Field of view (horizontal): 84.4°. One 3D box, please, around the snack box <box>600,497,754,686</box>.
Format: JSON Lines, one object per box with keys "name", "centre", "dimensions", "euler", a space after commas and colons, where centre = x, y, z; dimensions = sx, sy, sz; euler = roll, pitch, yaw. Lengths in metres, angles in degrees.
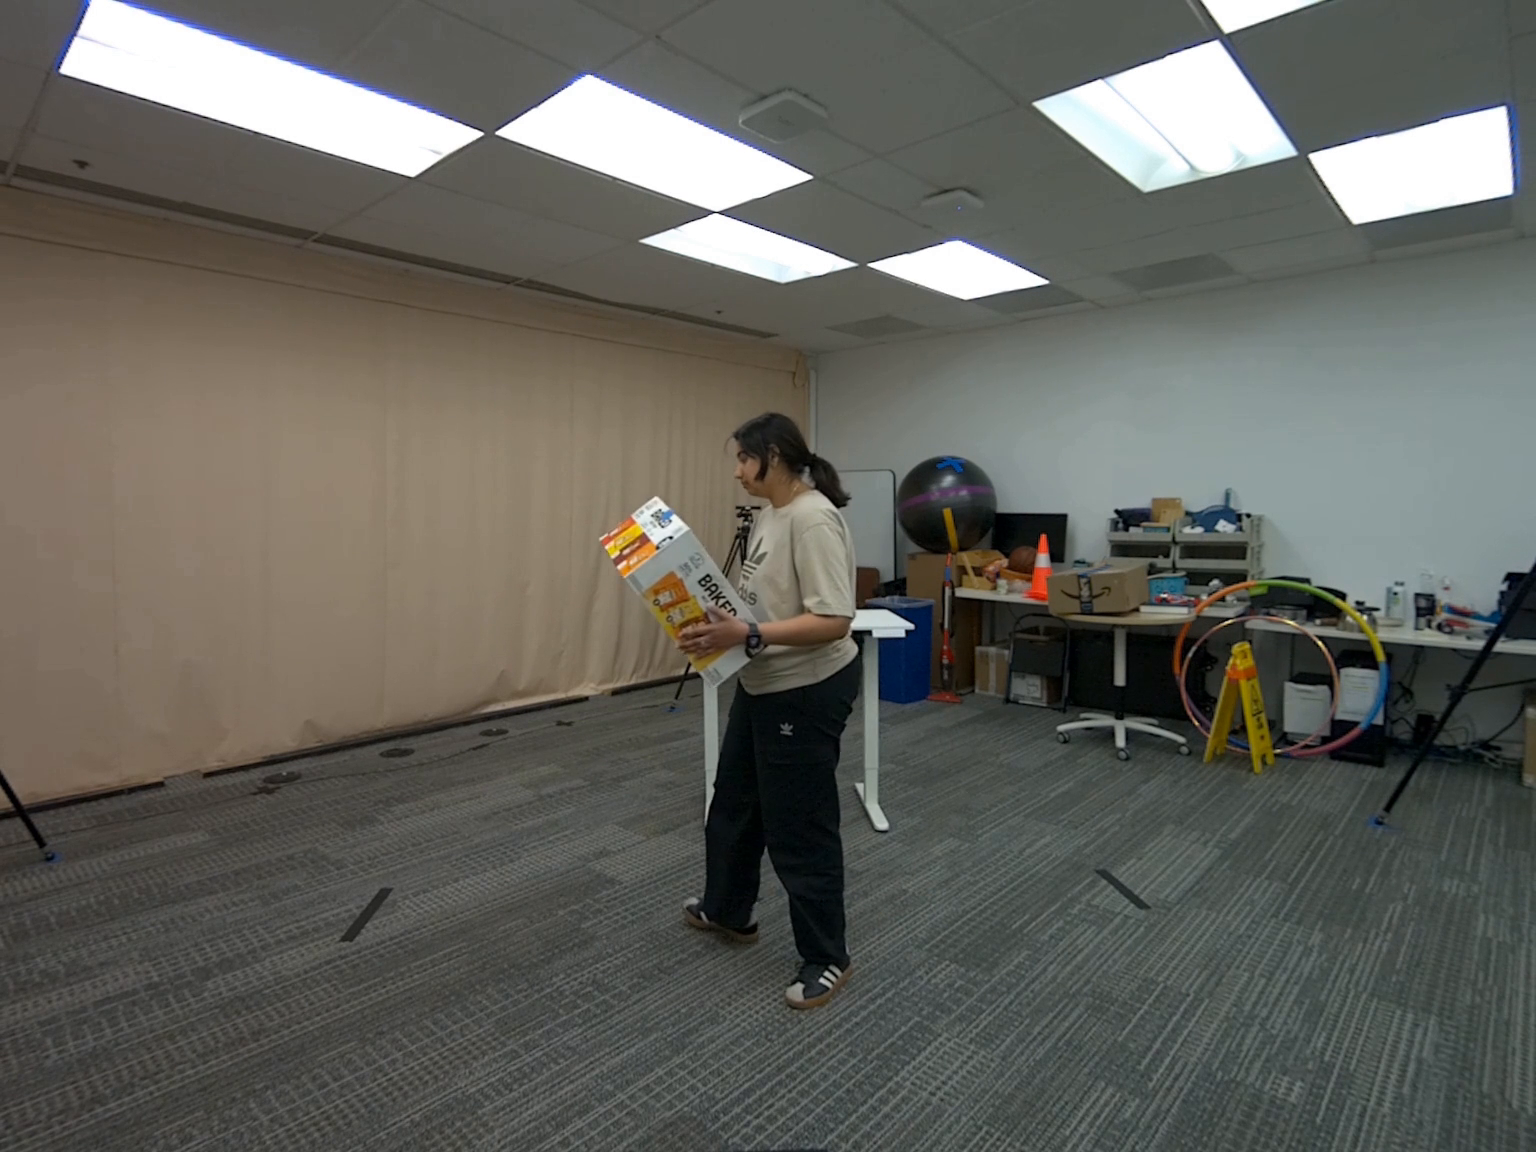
{"name": "snack box", "centre": [-0.227, 0.038, 2.264], "dimensions": [0.205, 0.395, 0.350], "euler": [-37, 25, -5]}
